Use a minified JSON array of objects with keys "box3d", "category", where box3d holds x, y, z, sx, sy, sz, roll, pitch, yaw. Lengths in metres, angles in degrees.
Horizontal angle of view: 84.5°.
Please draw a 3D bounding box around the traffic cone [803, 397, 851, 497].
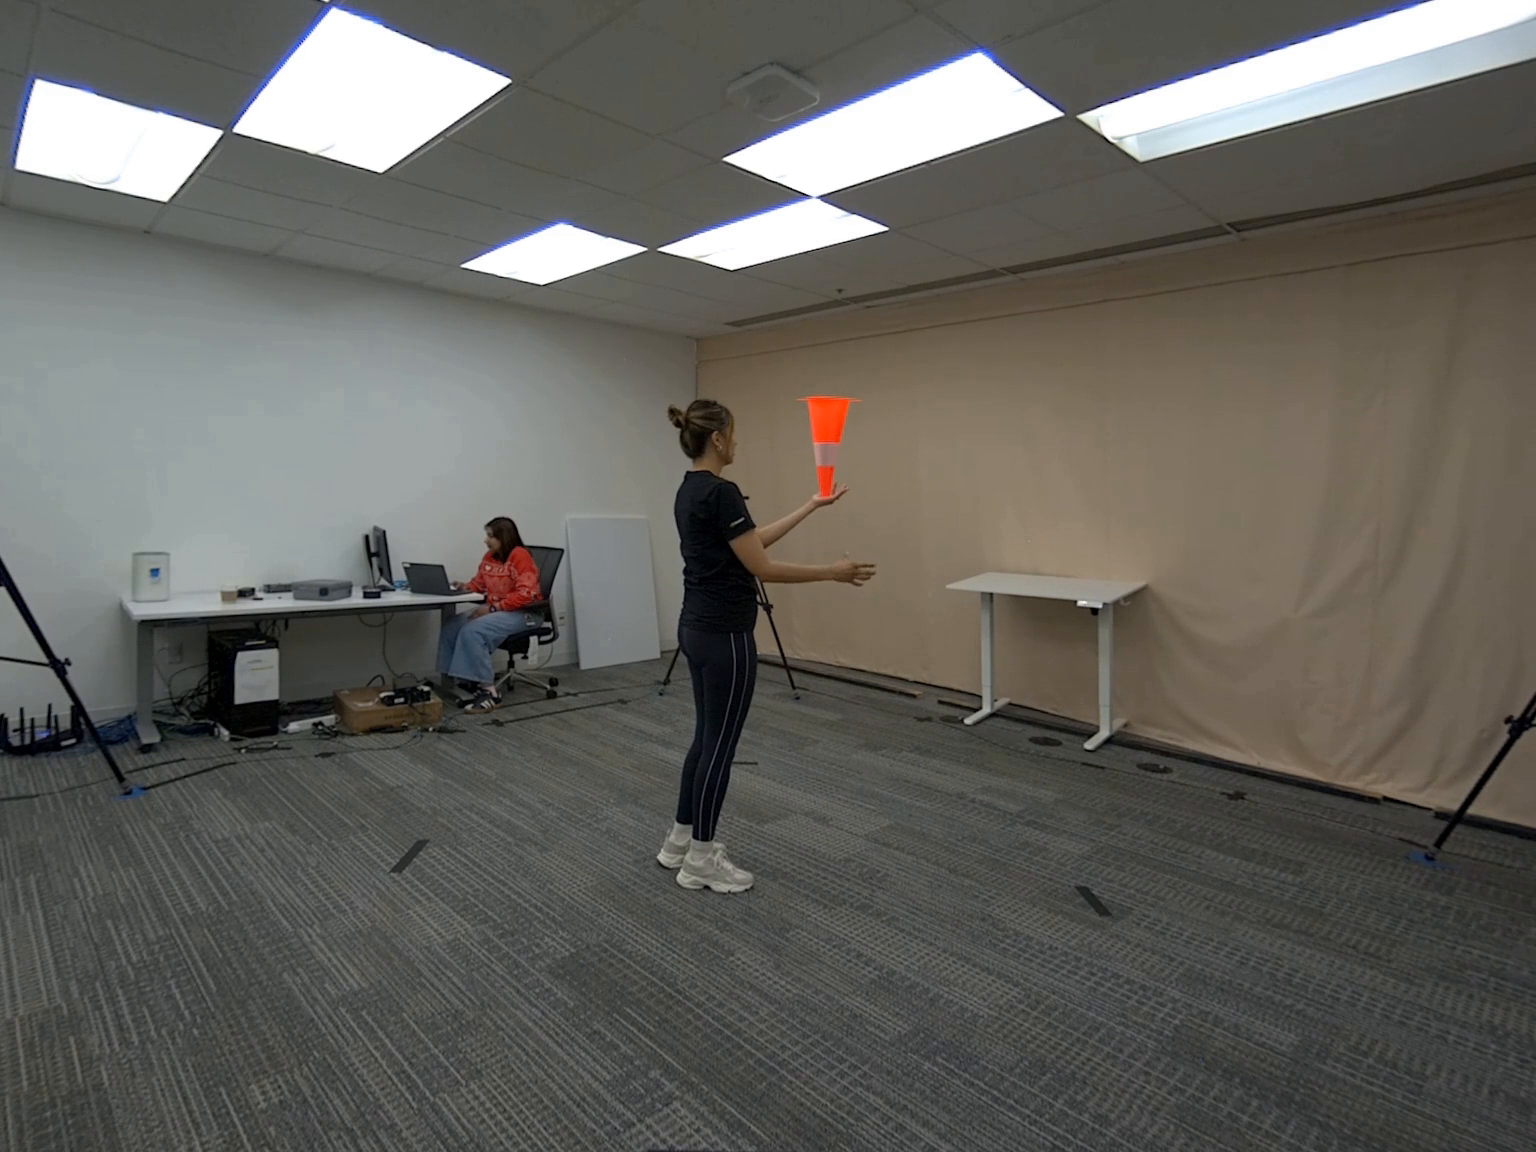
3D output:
[{"box3d":[0.228,-0.491,3.237,0.202,0.382,0.207,0,7,-17],"category":"traffic cone"}]
